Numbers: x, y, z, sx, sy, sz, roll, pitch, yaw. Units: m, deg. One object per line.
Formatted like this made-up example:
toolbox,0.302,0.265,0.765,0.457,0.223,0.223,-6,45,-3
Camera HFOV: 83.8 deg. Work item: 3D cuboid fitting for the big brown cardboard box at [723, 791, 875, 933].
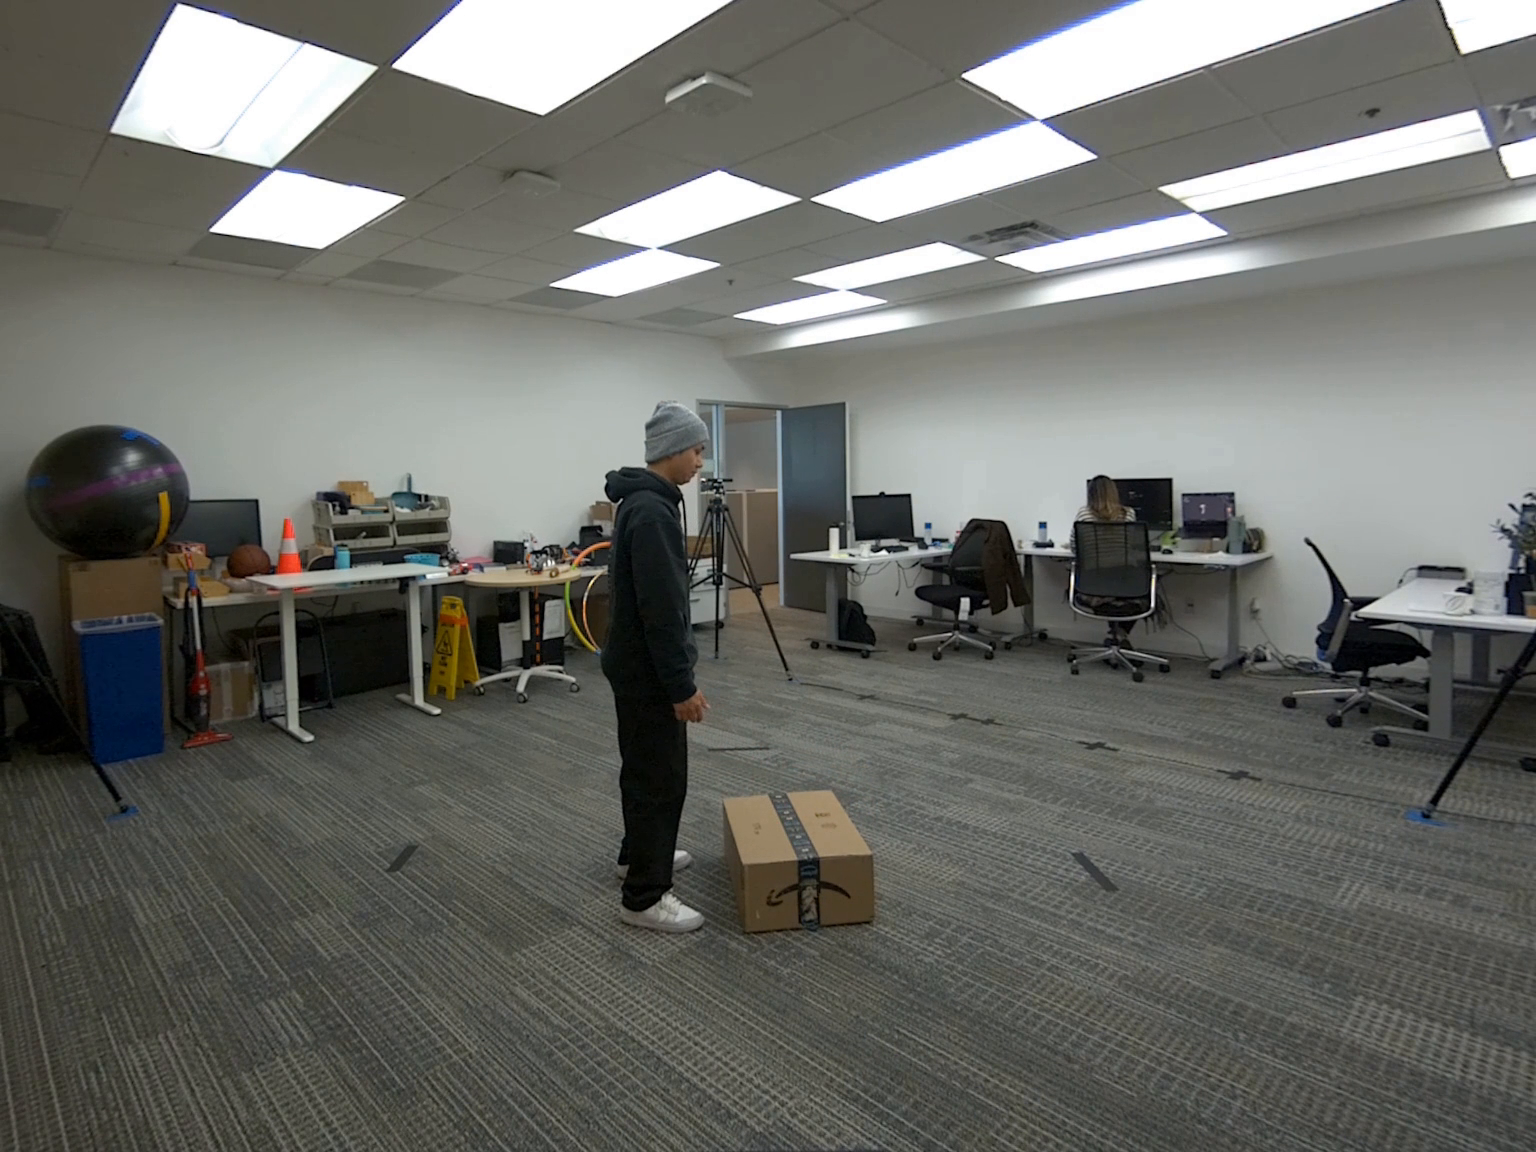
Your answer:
big brown cardboard box,0.085,0.950,2.918,0.415,0.232,0.596,-3,7,-8
